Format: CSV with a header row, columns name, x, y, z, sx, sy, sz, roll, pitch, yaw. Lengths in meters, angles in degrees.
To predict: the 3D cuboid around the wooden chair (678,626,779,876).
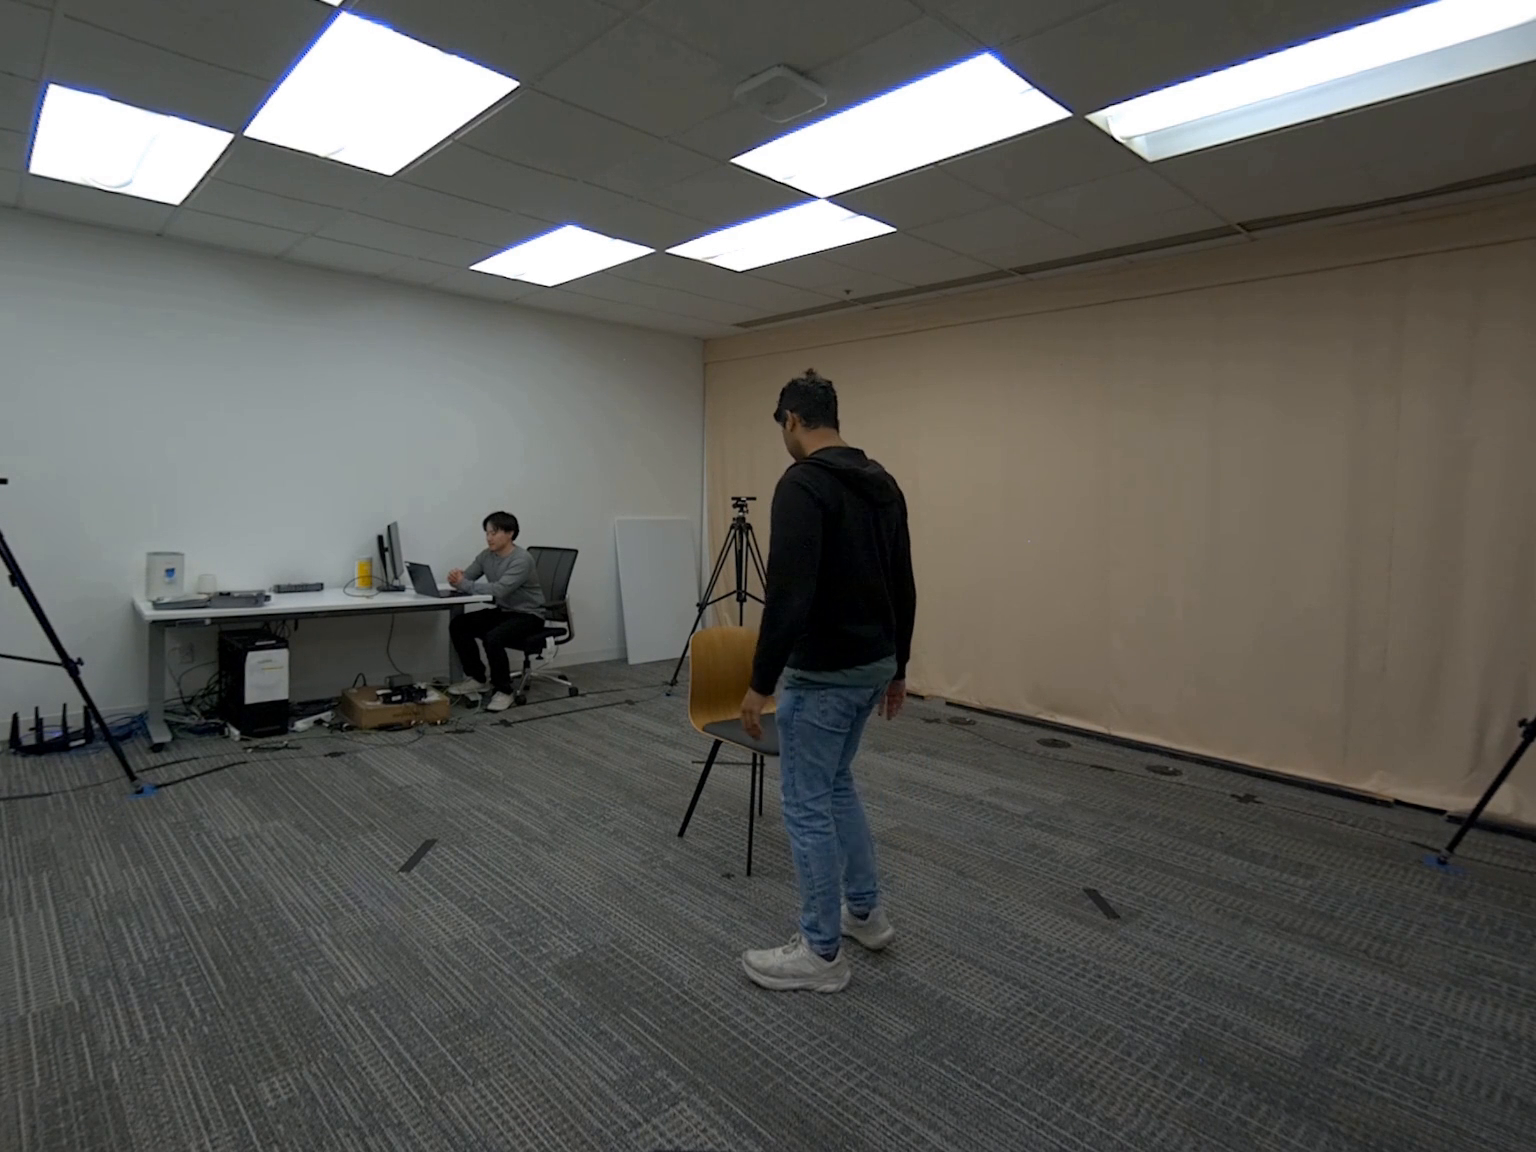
name,x,y,z,sx,sy,sz,roll,pitch,yaw
wooden chair,-0.045,0.656,3.374,0.467,0.878,0.535,0,-1,-40
